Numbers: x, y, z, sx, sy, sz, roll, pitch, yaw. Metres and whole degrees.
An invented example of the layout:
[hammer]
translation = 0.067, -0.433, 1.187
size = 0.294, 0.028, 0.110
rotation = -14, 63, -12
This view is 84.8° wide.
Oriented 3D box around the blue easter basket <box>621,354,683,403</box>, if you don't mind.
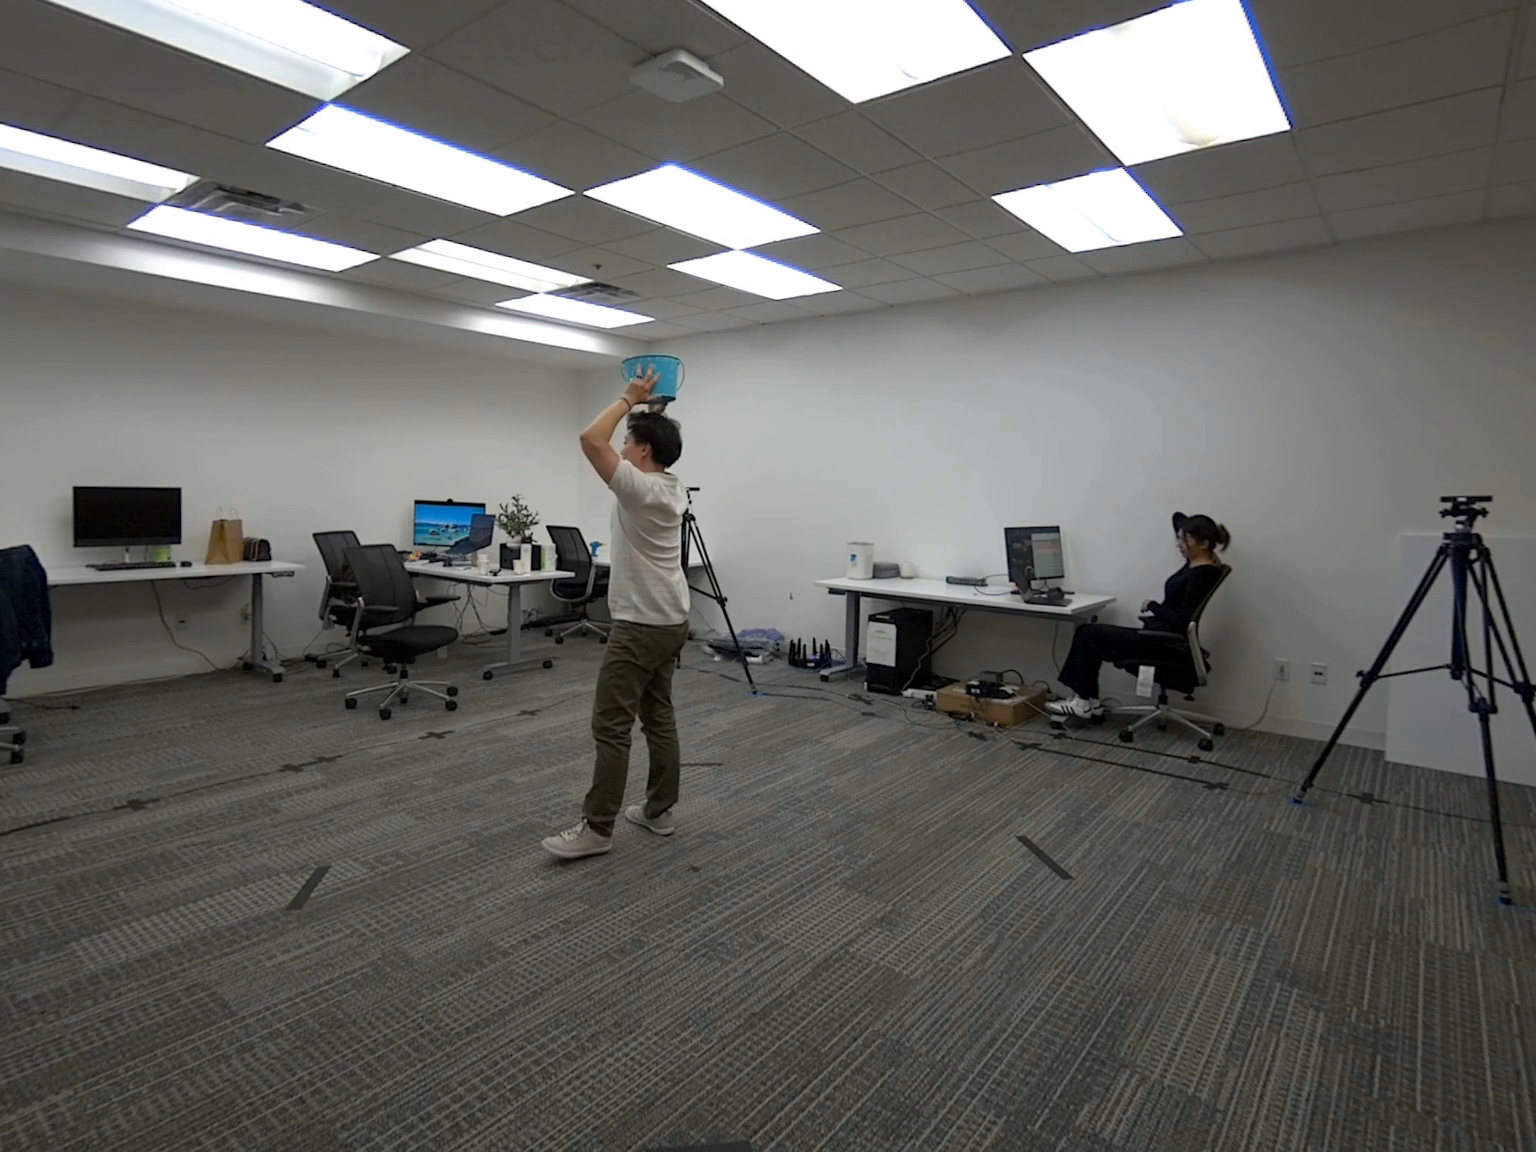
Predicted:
[blue easter basket]
translation = -0.469, -0.772, 3.335
size = 0.243, 0.156, 0.244
rotation = -4, 0, -2
